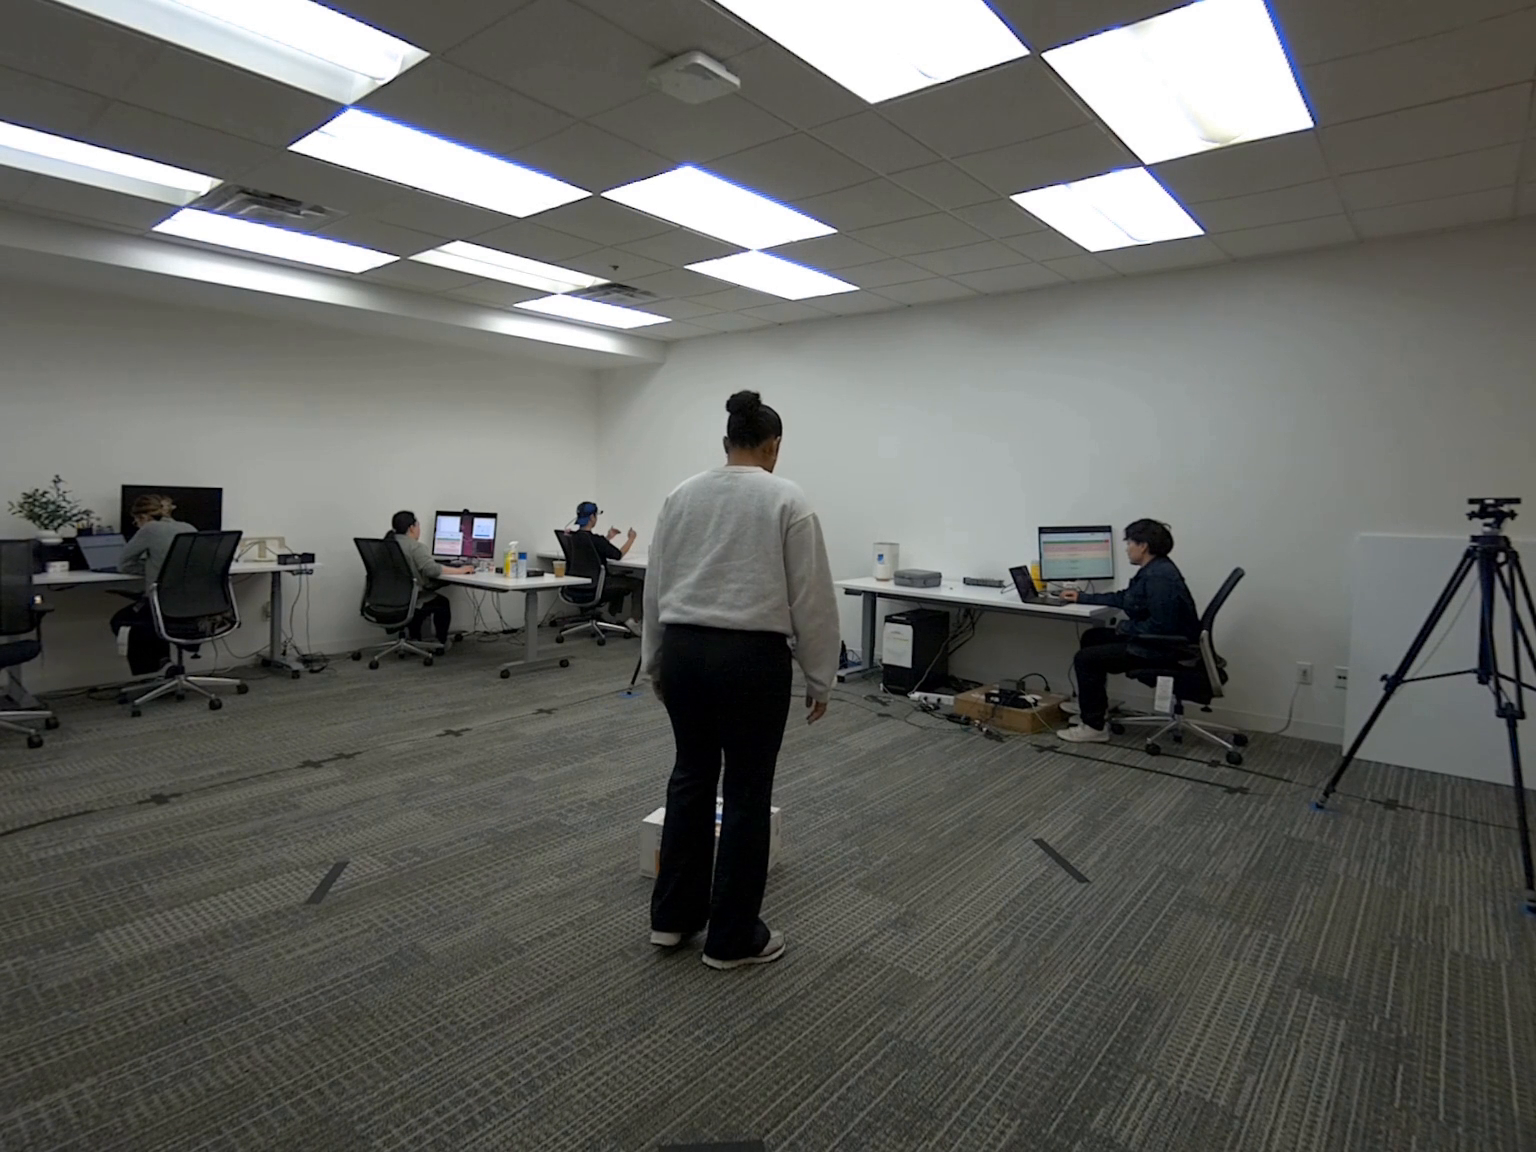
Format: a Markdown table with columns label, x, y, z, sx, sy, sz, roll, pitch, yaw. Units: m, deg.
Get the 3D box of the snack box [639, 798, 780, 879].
| label | x | y | z | sx | sy | sz | roll | pitch | yaw |
| --- | --- | --- | --- | --- | --- | --- | --- | --- | --- |
| snack box | -0.212 | 0.961 | 3.093 | 0.415 | 0.205 | 0.333 | 3 | 5 | 23 |
